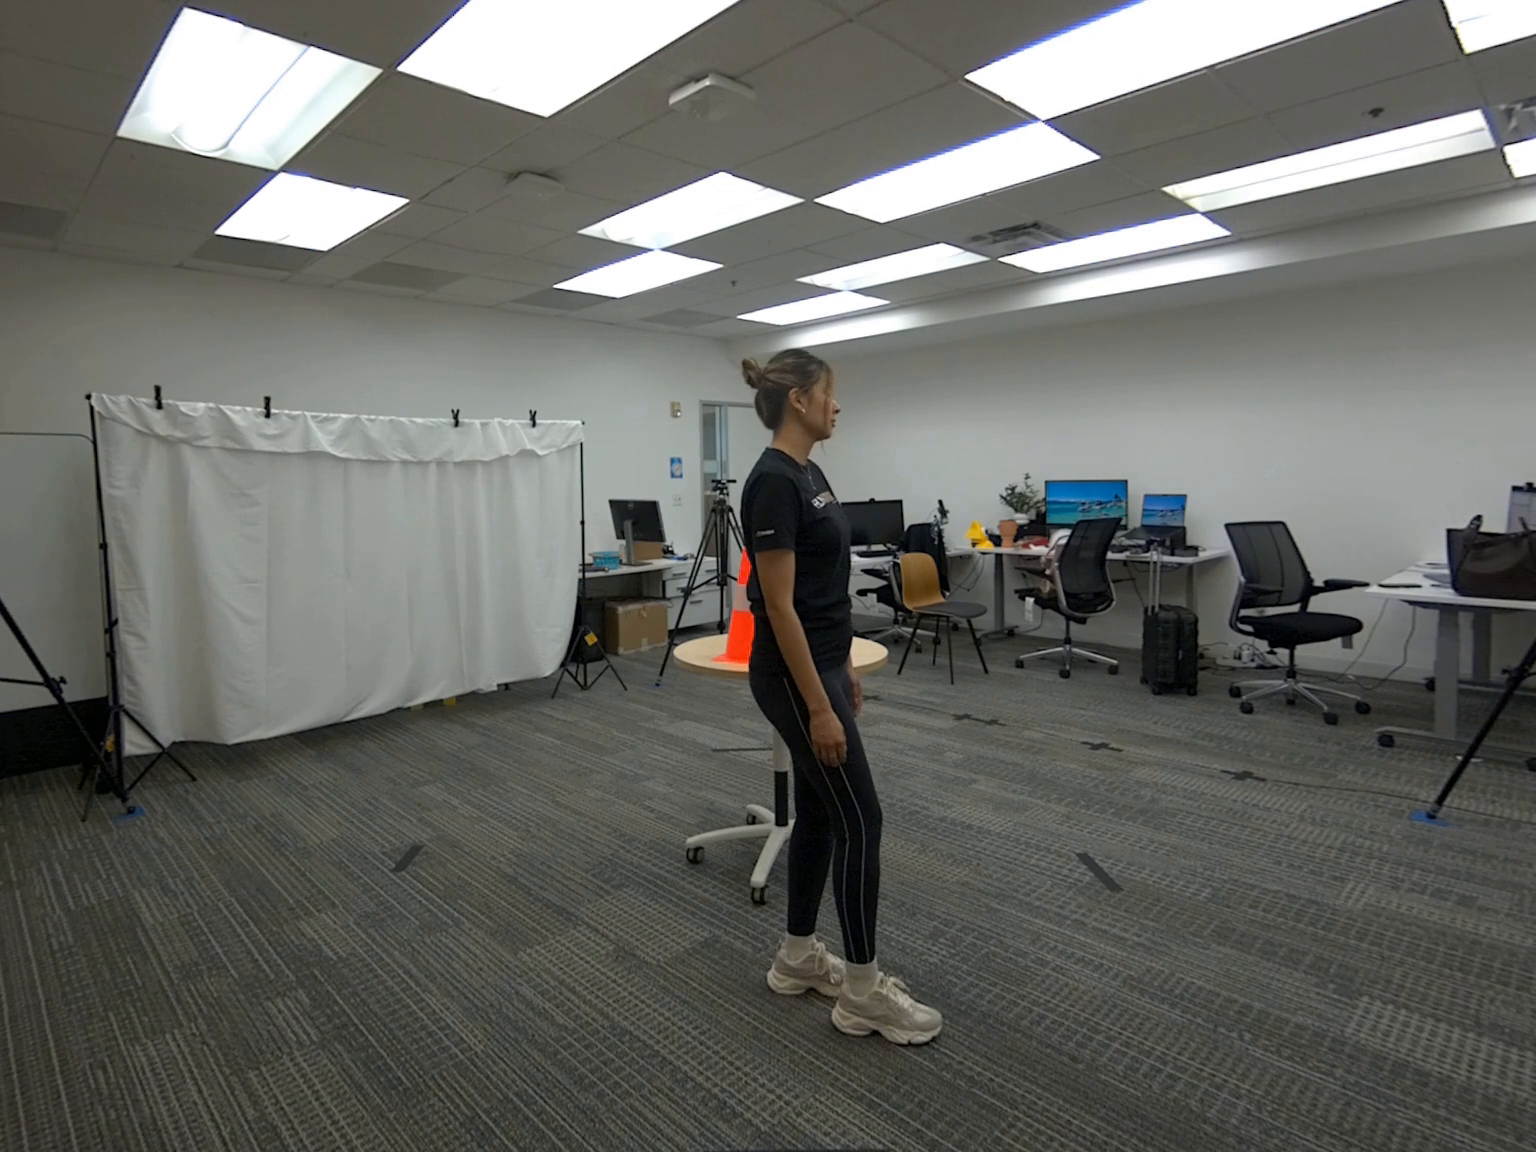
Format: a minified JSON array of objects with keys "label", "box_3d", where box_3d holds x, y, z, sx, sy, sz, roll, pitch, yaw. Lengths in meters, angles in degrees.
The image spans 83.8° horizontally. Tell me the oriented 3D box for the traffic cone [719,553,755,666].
[{"label":"traffic cone","box_3d":[-0.068,0.099,2.930,0.208,0.382,0.201,1,4,22]}]
